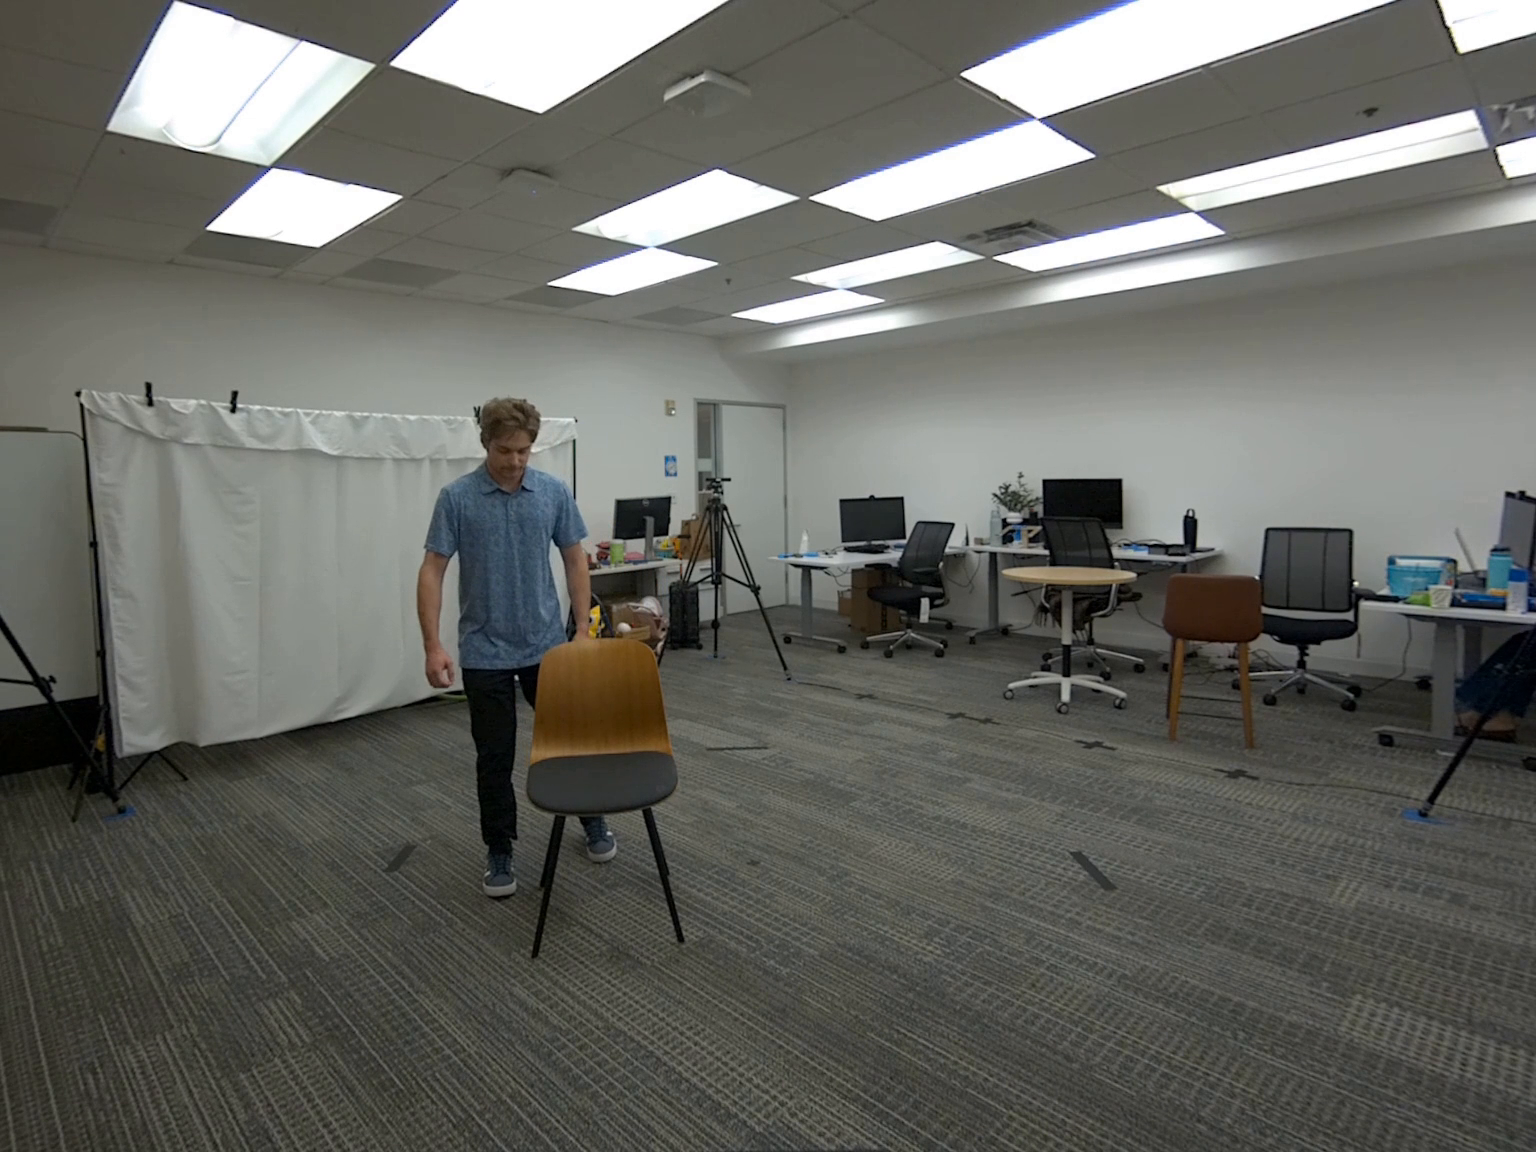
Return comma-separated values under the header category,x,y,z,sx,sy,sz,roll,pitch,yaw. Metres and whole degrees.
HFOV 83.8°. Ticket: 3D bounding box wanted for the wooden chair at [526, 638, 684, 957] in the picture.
category,x,y,z,sx,sy,sz,roll,pitch,yaw
wooden chair,-0.516,0.667,2.719,0.473,0.877,0.528,-1,0,-11
